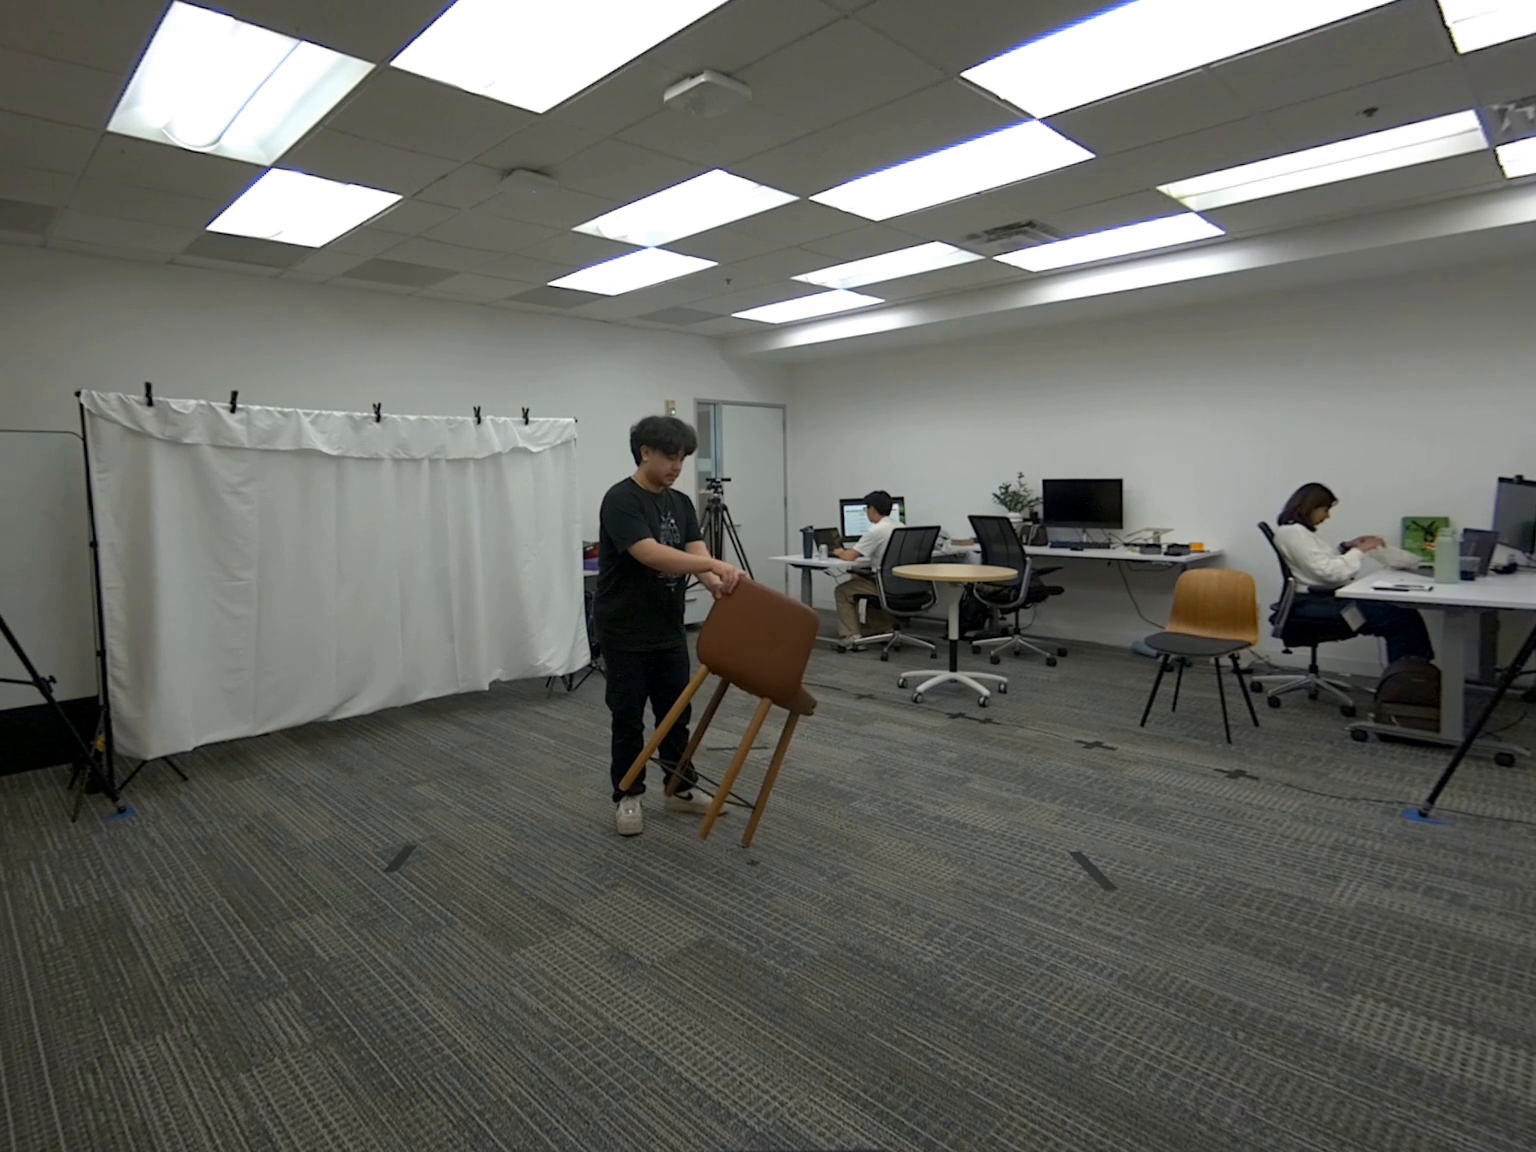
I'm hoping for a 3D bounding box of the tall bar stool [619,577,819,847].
[{"bbox_3d":[-0.112,0.507,3.217,0.470,0.892,0.452,22,-9,26],"label":"tall bar stool"}]
